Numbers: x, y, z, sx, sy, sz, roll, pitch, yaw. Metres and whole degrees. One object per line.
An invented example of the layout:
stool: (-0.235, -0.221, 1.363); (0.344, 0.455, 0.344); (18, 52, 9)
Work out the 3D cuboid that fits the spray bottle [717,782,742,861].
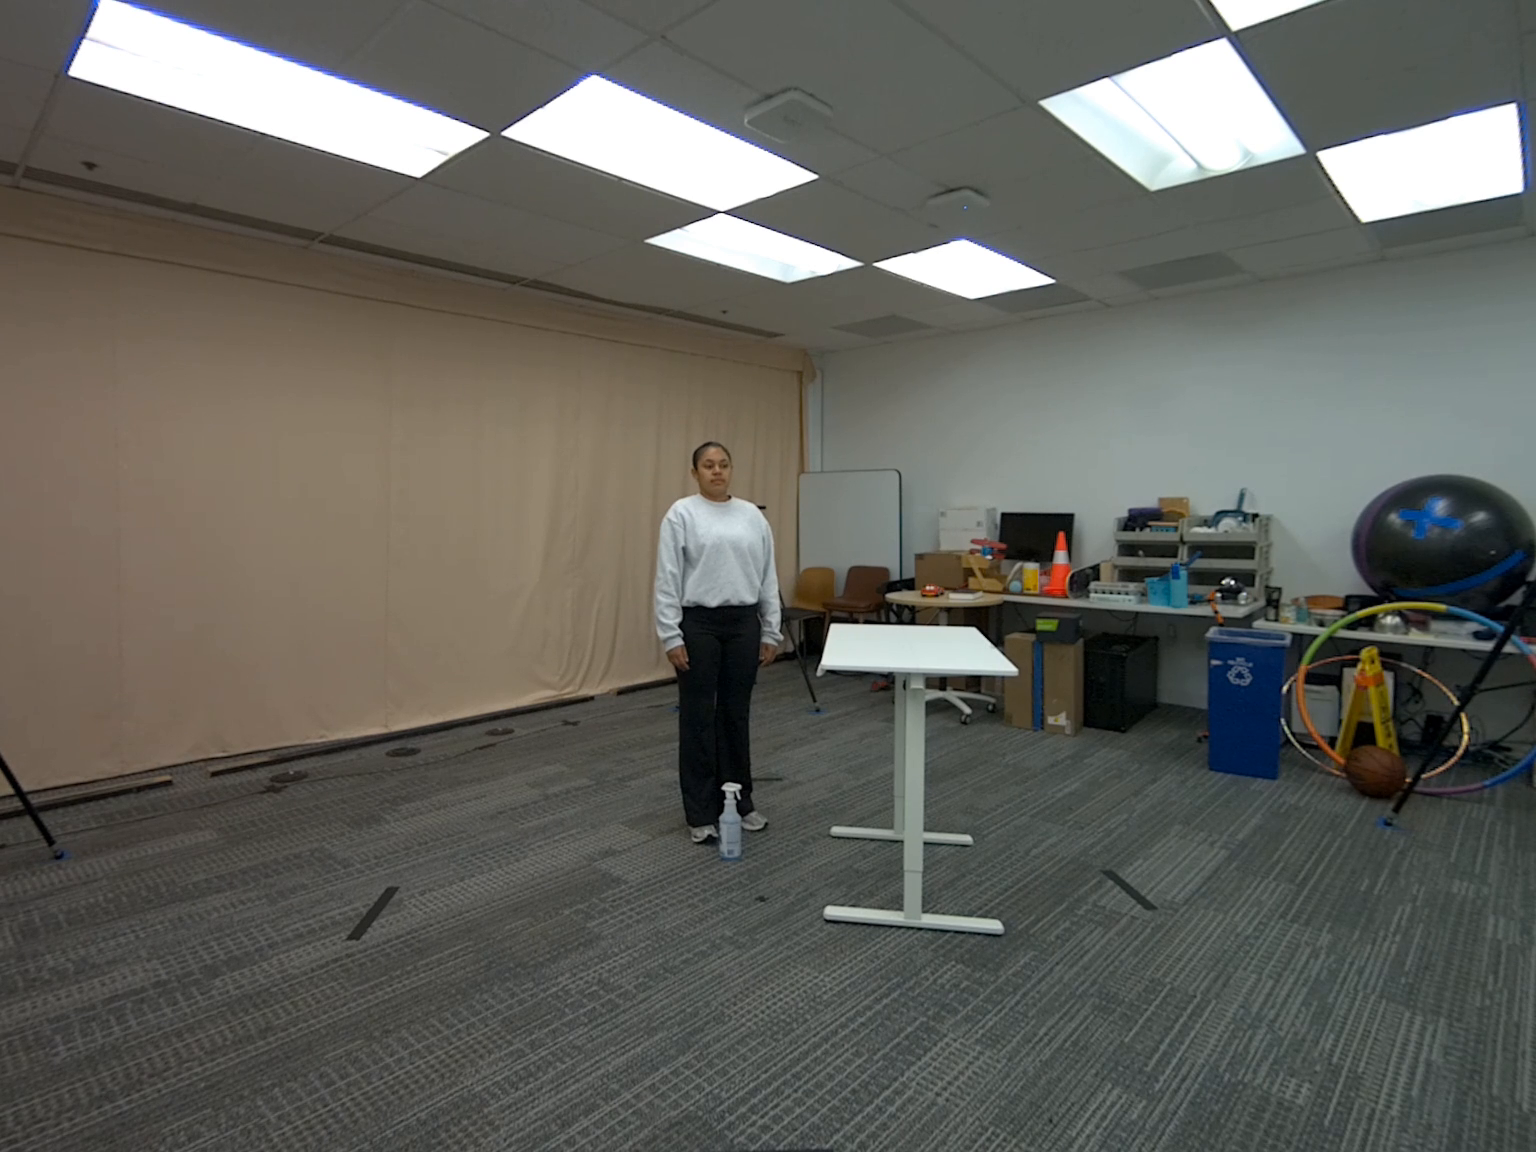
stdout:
spray bottle: (-0.147, 0.960, 3.332); (0.085, 0.296, 0.093); (-2, 7, -29)
